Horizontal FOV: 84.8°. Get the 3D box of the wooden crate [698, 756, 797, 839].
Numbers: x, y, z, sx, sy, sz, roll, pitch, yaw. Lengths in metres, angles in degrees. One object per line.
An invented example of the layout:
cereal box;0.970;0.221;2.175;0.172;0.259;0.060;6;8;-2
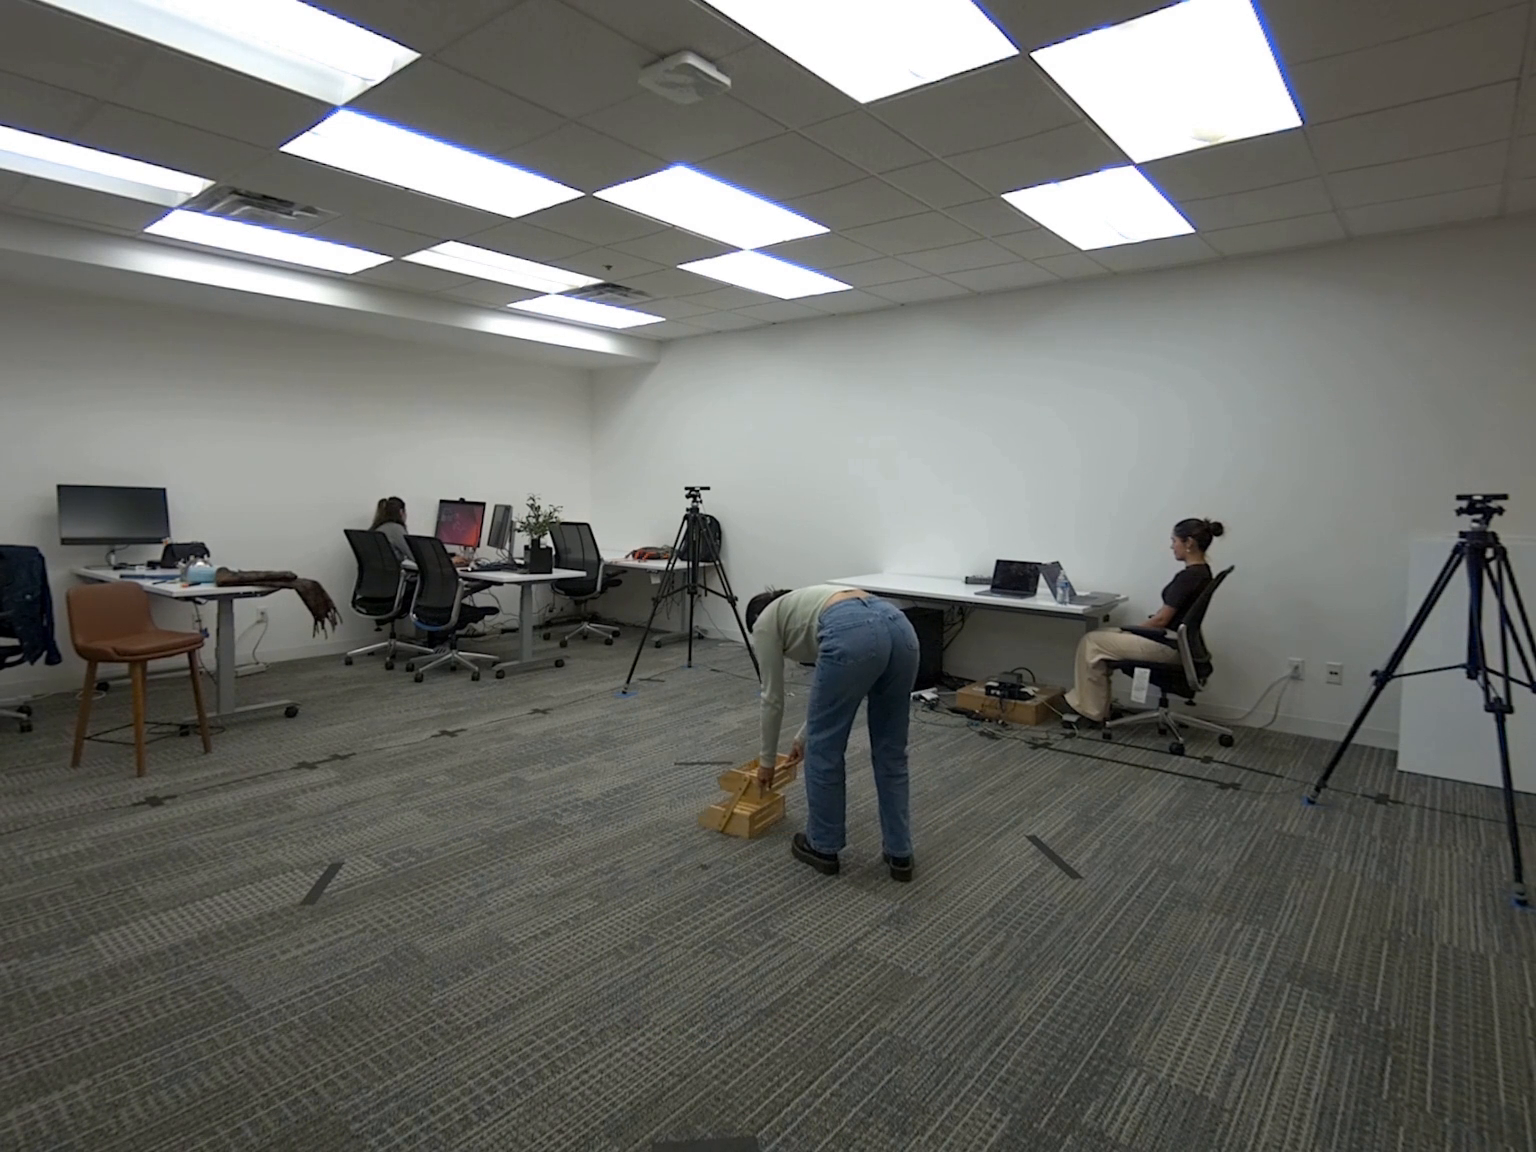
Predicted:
wooden crate;-0.096;0.890;3.549;0.311;0.272;0.316;4;6;31
